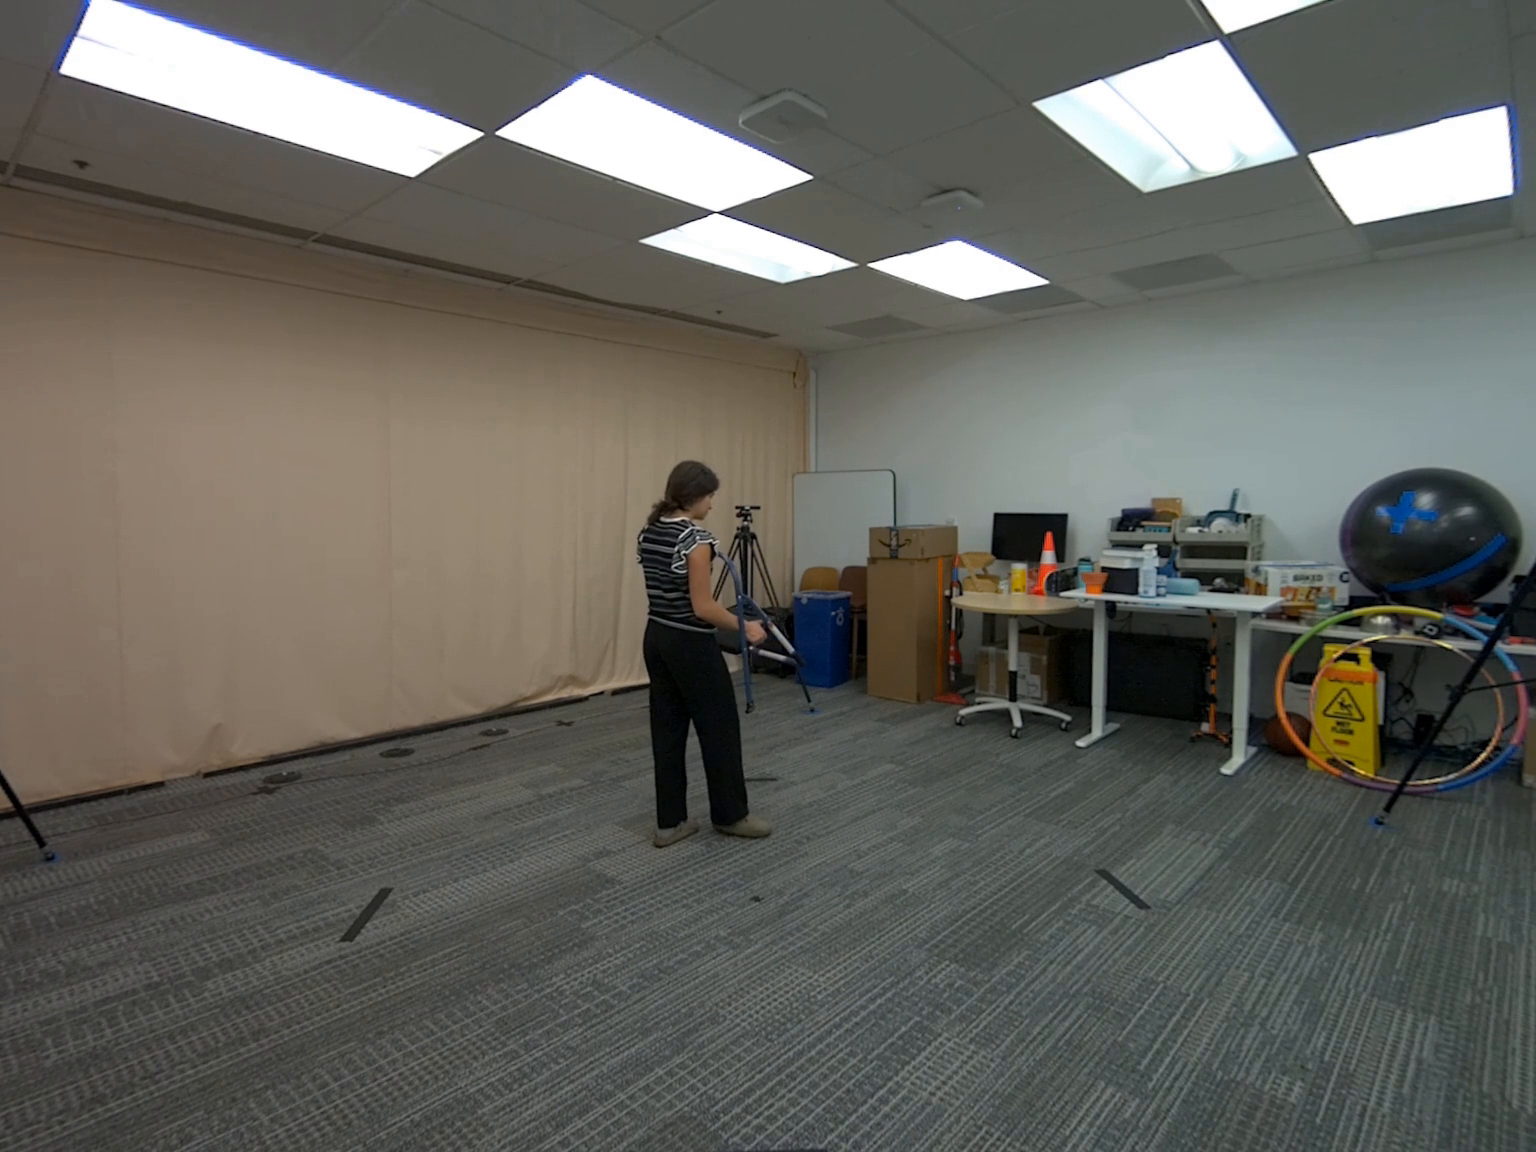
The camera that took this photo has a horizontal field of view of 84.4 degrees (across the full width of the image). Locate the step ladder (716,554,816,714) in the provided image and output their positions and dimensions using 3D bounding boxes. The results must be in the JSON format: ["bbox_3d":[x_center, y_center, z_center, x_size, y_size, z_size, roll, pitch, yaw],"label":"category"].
[{"bbox_3d":[-0.175,0.194,3.590,0.344,0.595,0.444,-34,22,-28],"label":"step ladder"}]
